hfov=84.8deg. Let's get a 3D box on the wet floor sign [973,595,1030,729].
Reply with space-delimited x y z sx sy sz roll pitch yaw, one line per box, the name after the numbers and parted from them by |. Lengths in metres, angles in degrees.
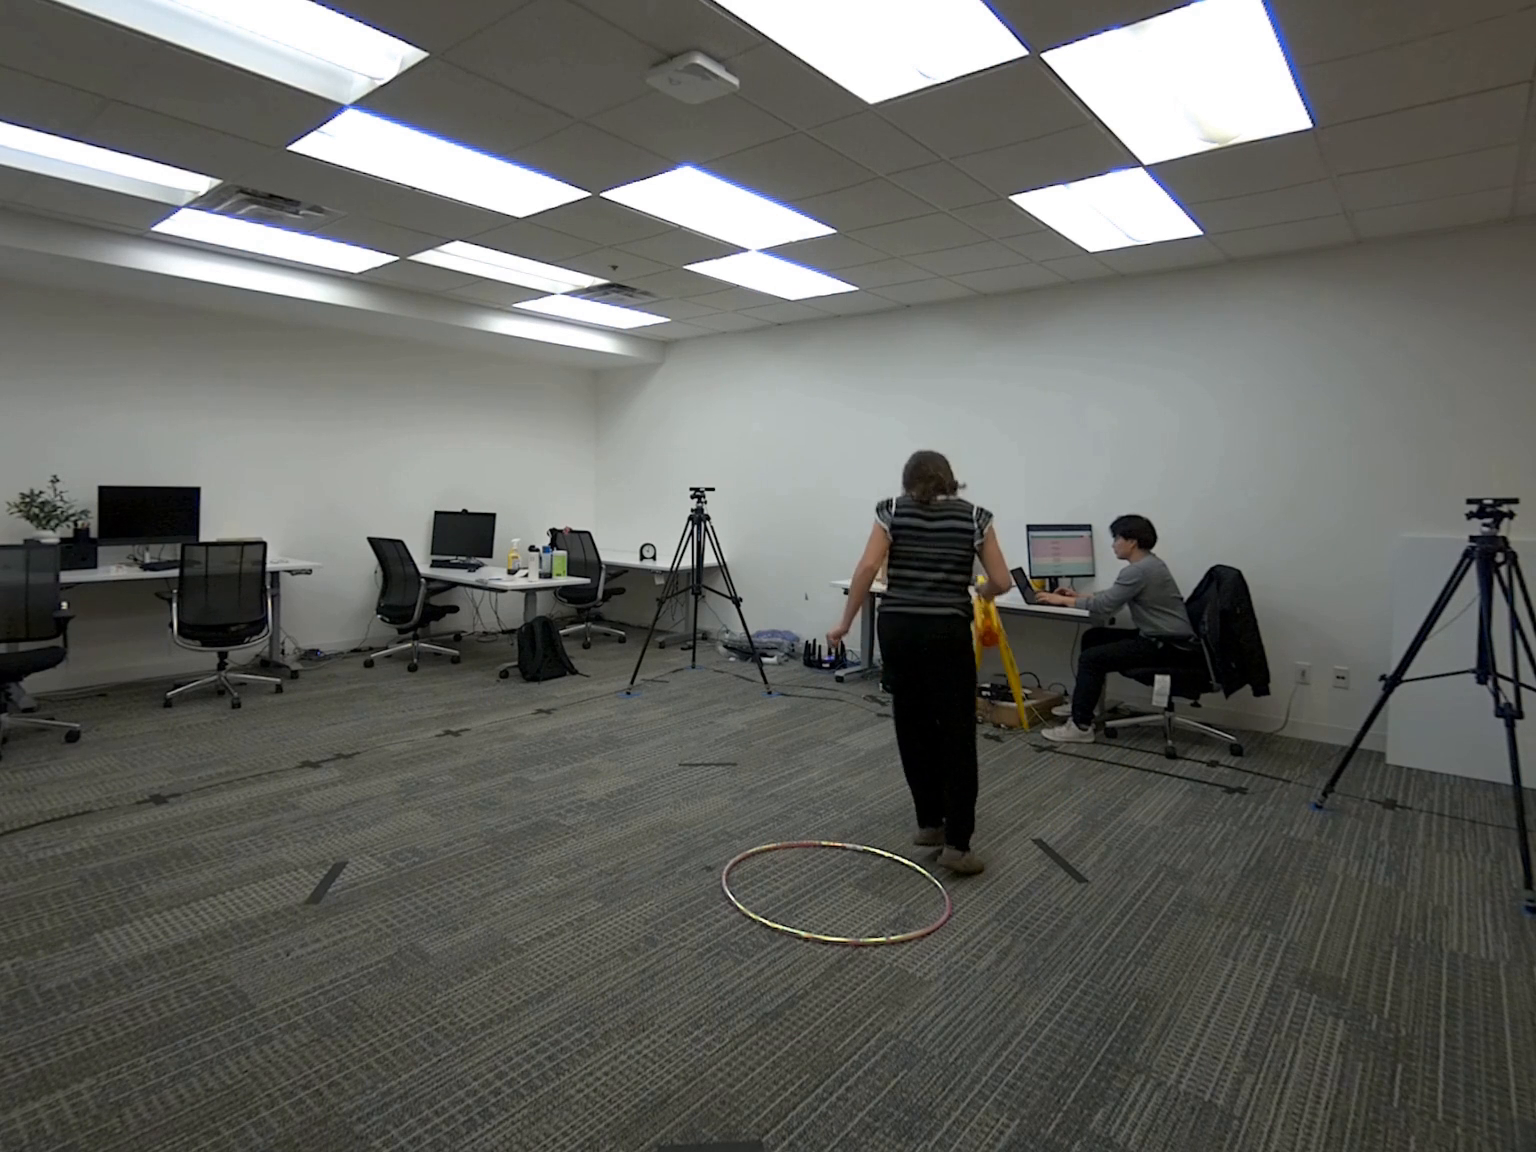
0.870 0.322 3.421 0.293 0.625 0.288 -6 35 13 | wet floor sign
